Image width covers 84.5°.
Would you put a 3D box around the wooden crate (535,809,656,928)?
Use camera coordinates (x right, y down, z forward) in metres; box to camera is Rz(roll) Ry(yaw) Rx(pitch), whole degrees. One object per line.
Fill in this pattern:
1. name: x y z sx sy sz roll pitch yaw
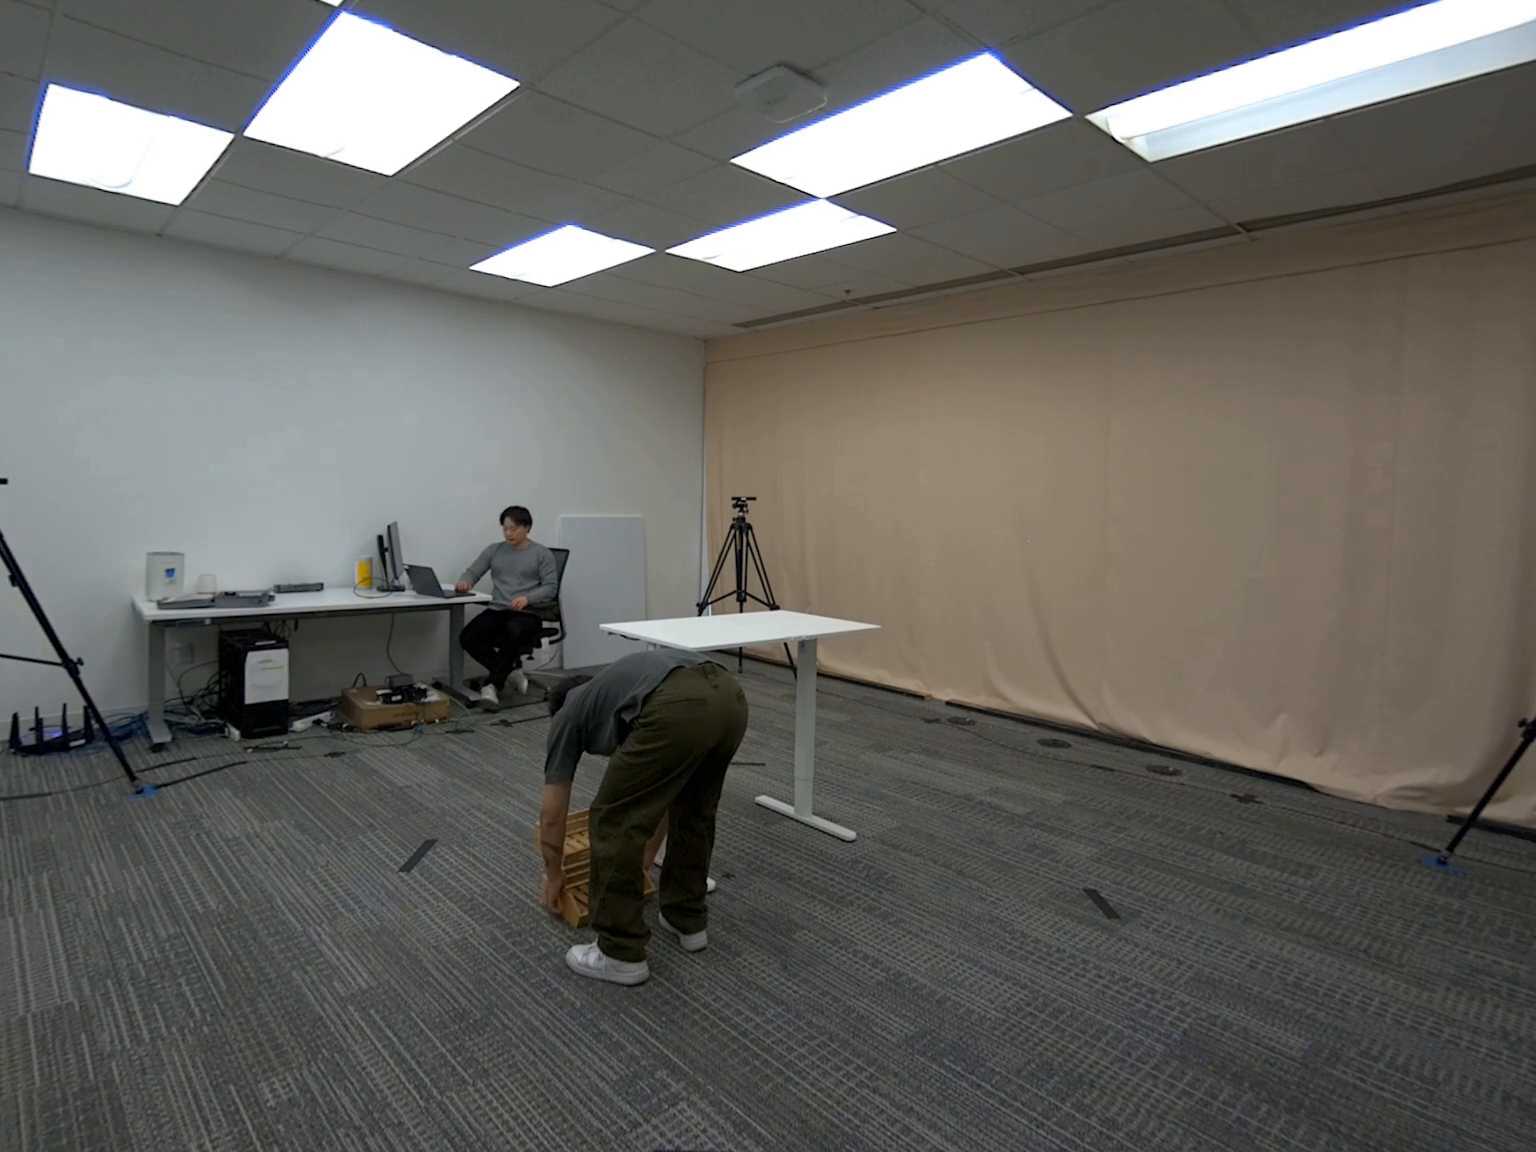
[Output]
1. wooden crate: -0.595 0.985 2.888 0.317 0.273 0.309 -2 5 -42
